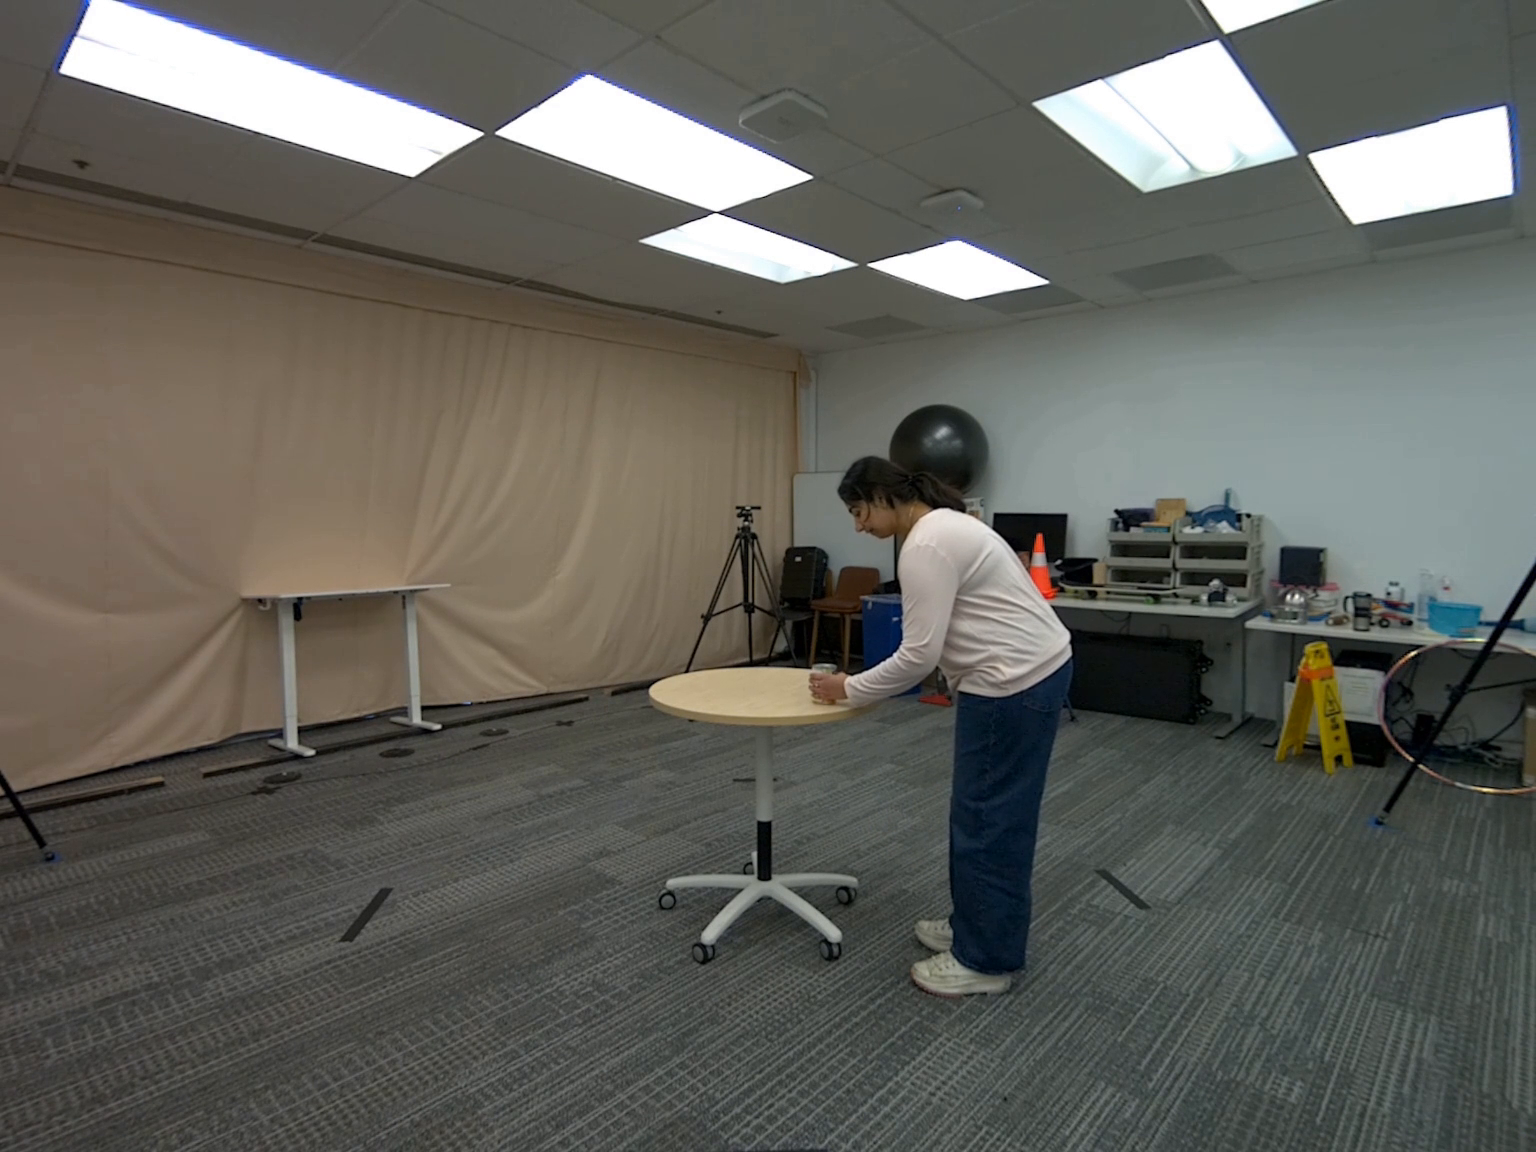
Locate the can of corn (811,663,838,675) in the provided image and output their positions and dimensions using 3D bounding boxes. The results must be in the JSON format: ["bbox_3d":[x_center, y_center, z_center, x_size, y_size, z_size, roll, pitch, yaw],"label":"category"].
[{"bbox_3d":[0.198,0.348,2.546,0.074,0.111,0.074,2,5,-2],"label":"can of corn"}]
